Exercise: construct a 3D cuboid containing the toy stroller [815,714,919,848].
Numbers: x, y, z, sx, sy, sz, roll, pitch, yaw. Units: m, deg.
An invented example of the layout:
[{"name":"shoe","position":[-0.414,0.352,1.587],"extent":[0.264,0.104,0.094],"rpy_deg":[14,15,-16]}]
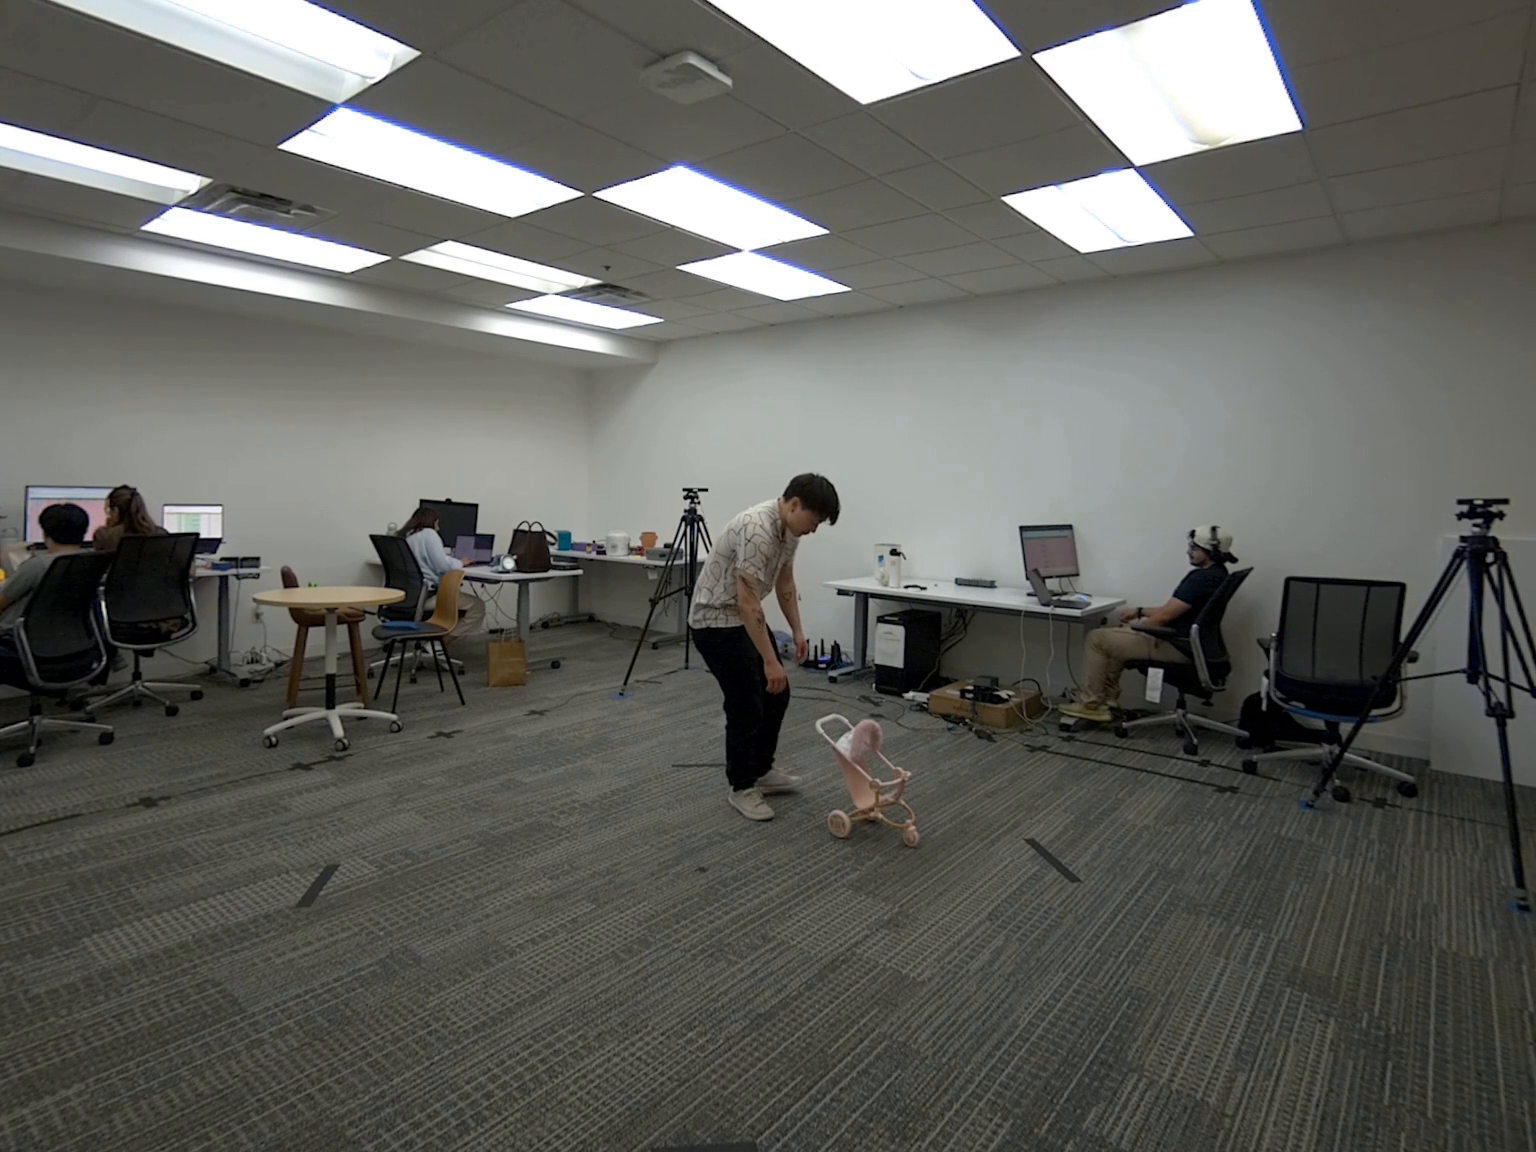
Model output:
[{"name":"toy stroller","position":[0.407,0.822,3.467],"extent":[0.349,0.540,0.273],"rpy_deg":[-17,-9,42]}]
